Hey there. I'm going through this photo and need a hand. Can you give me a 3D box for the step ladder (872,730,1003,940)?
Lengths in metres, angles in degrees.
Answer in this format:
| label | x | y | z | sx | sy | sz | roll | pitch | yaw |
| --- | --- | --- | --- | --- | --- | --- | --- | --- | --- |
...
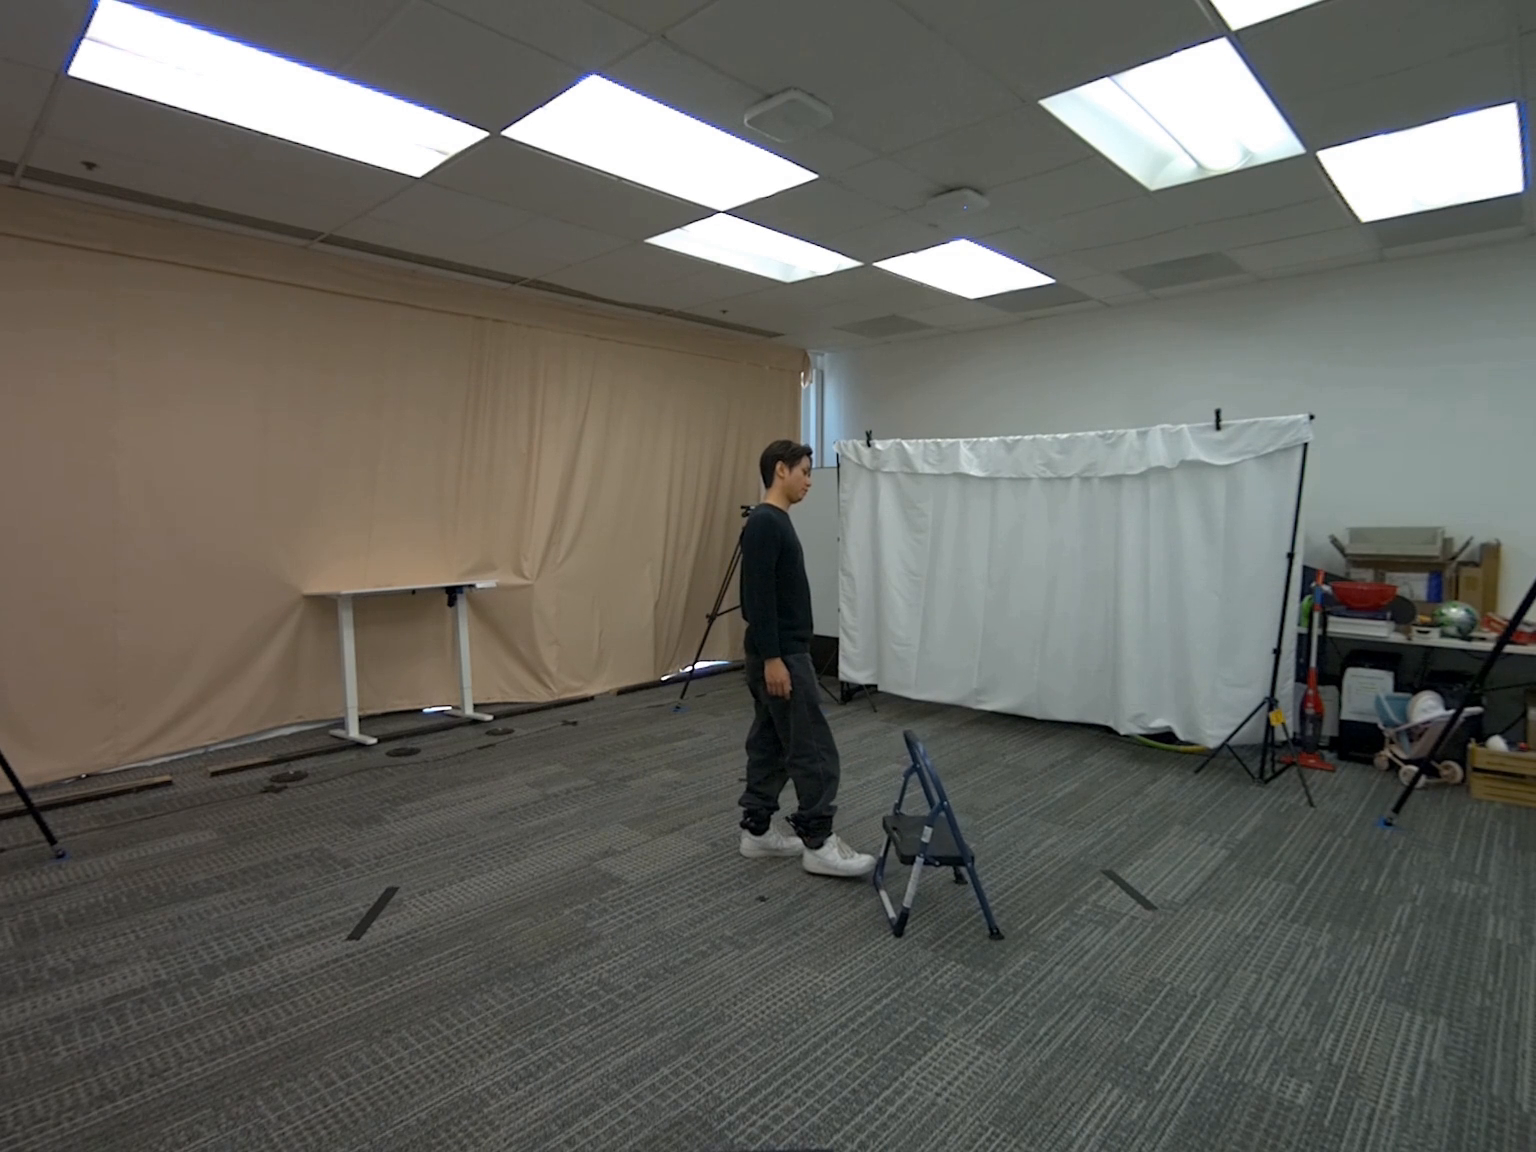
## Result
| label | x | y | z | sx | sy | sz | roll | pitch | yaw |
| --- | --- | --- | --- | --- | --- | --- | --- | --- | --- |
| step ladder | 0.579 | 0.848 | 2.894 | 0.349 | 0.605 | 0.432 | 0 | 3 | -3 |
